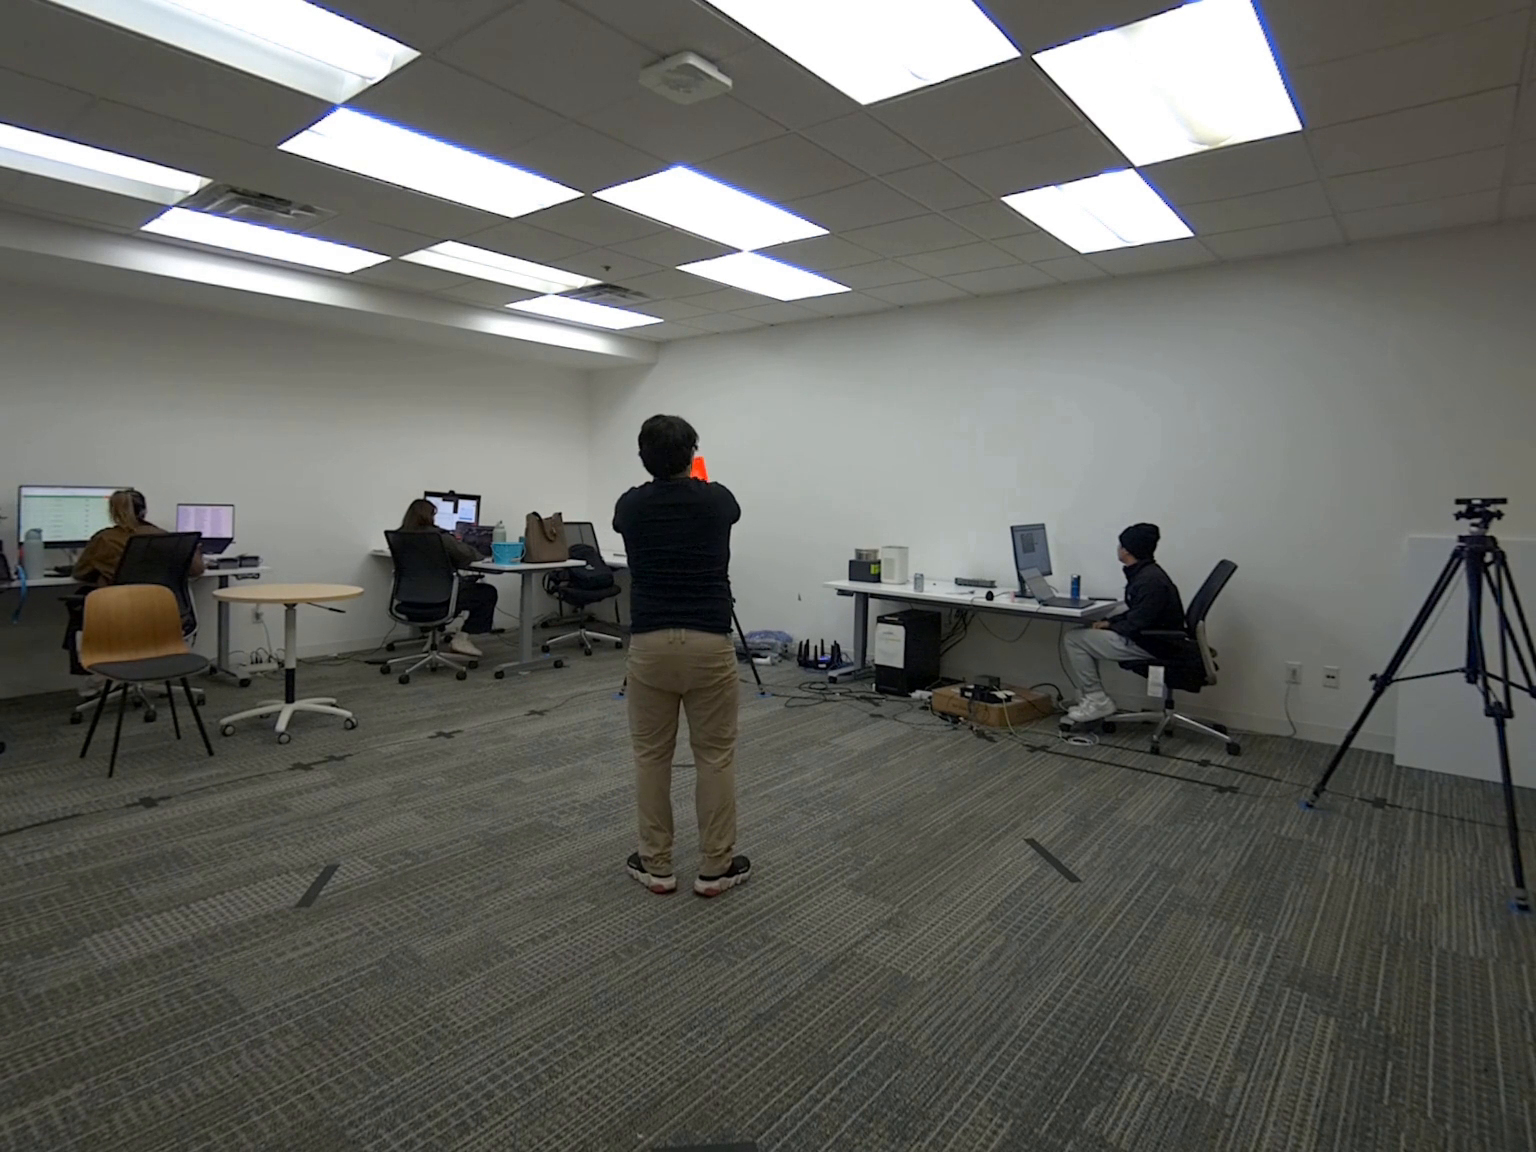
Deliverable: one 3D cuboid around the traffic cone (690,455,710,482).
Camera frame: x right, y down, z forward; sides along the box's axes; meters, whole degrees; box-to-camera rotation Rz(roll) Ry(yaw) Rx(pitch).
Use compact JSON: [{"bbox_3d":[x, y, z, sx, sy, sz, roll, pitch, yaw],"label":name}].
[{"bbox_3d":[-0.342,-0.296,3.584,0.205,0.196,0.397,-12,44,1],"label":"traffic cone"}]
